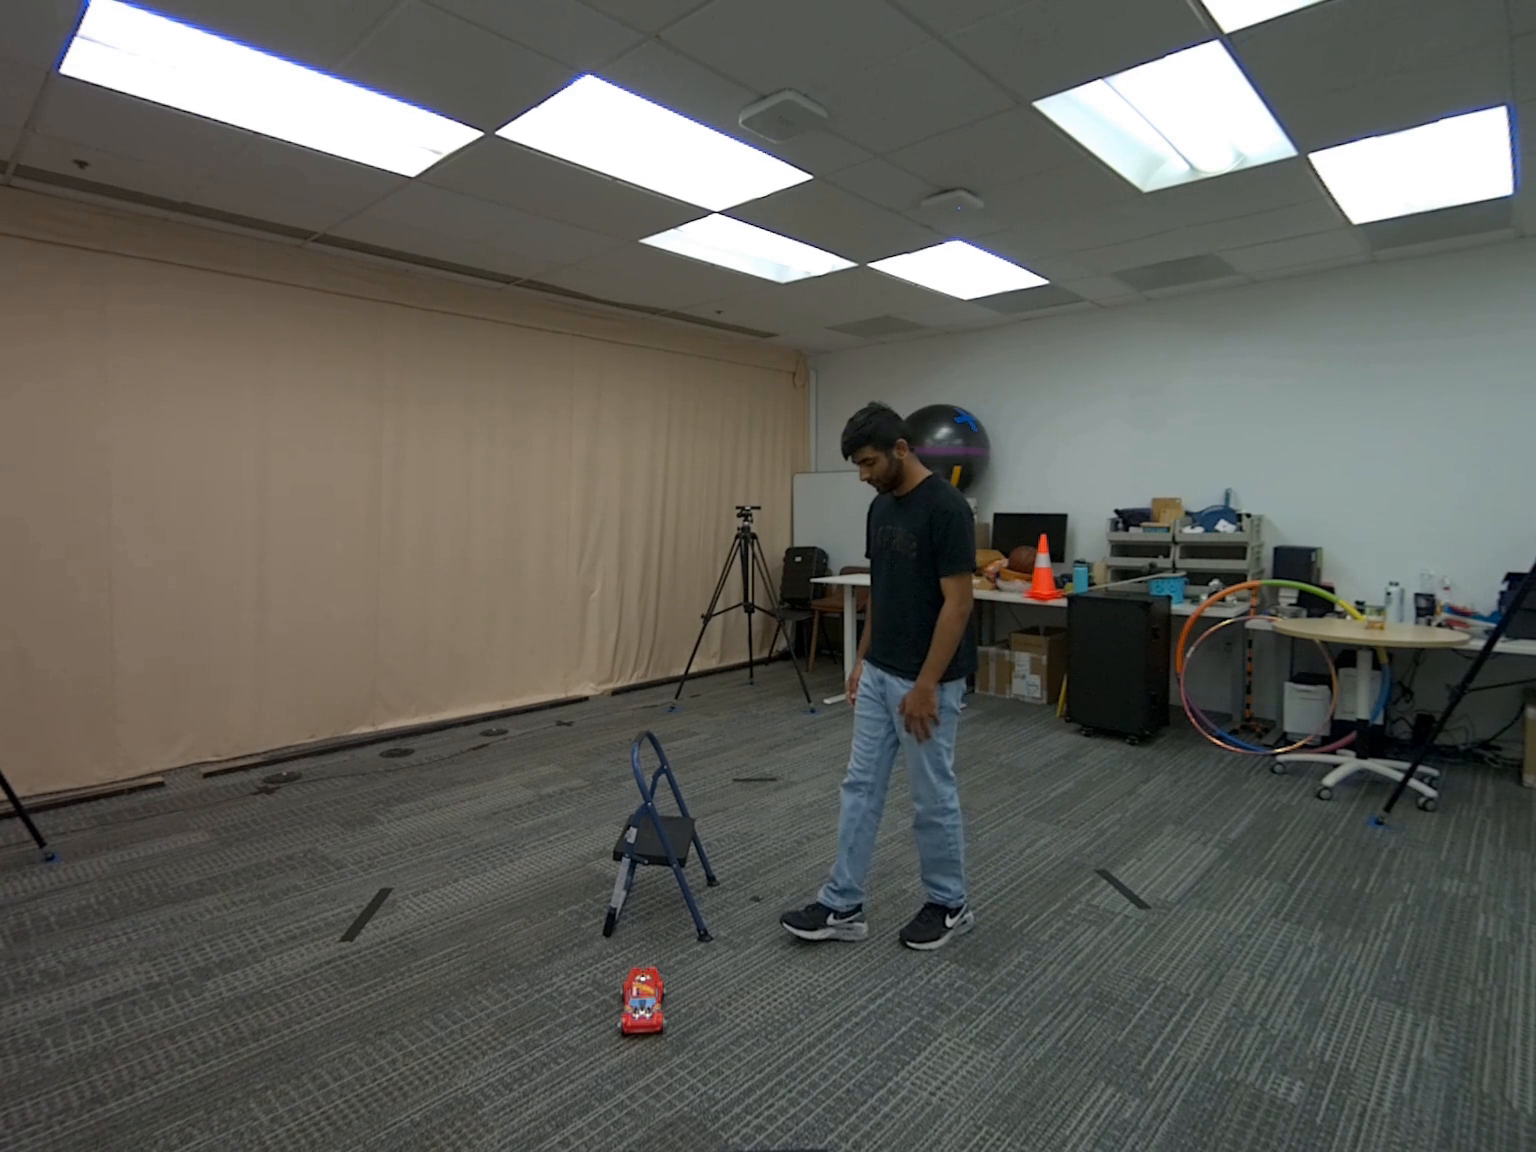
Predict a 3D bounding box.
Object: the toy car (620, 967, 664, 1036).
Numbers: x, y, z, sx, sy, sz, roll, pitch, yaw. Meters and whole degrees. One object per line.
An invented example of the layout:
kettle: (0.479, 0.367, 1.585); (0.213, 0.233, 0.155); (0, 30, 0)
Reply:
toy car: (-0.347, 1.164, 2.316); (0.130, 0.082, 0.258); (0, 16, -6)
